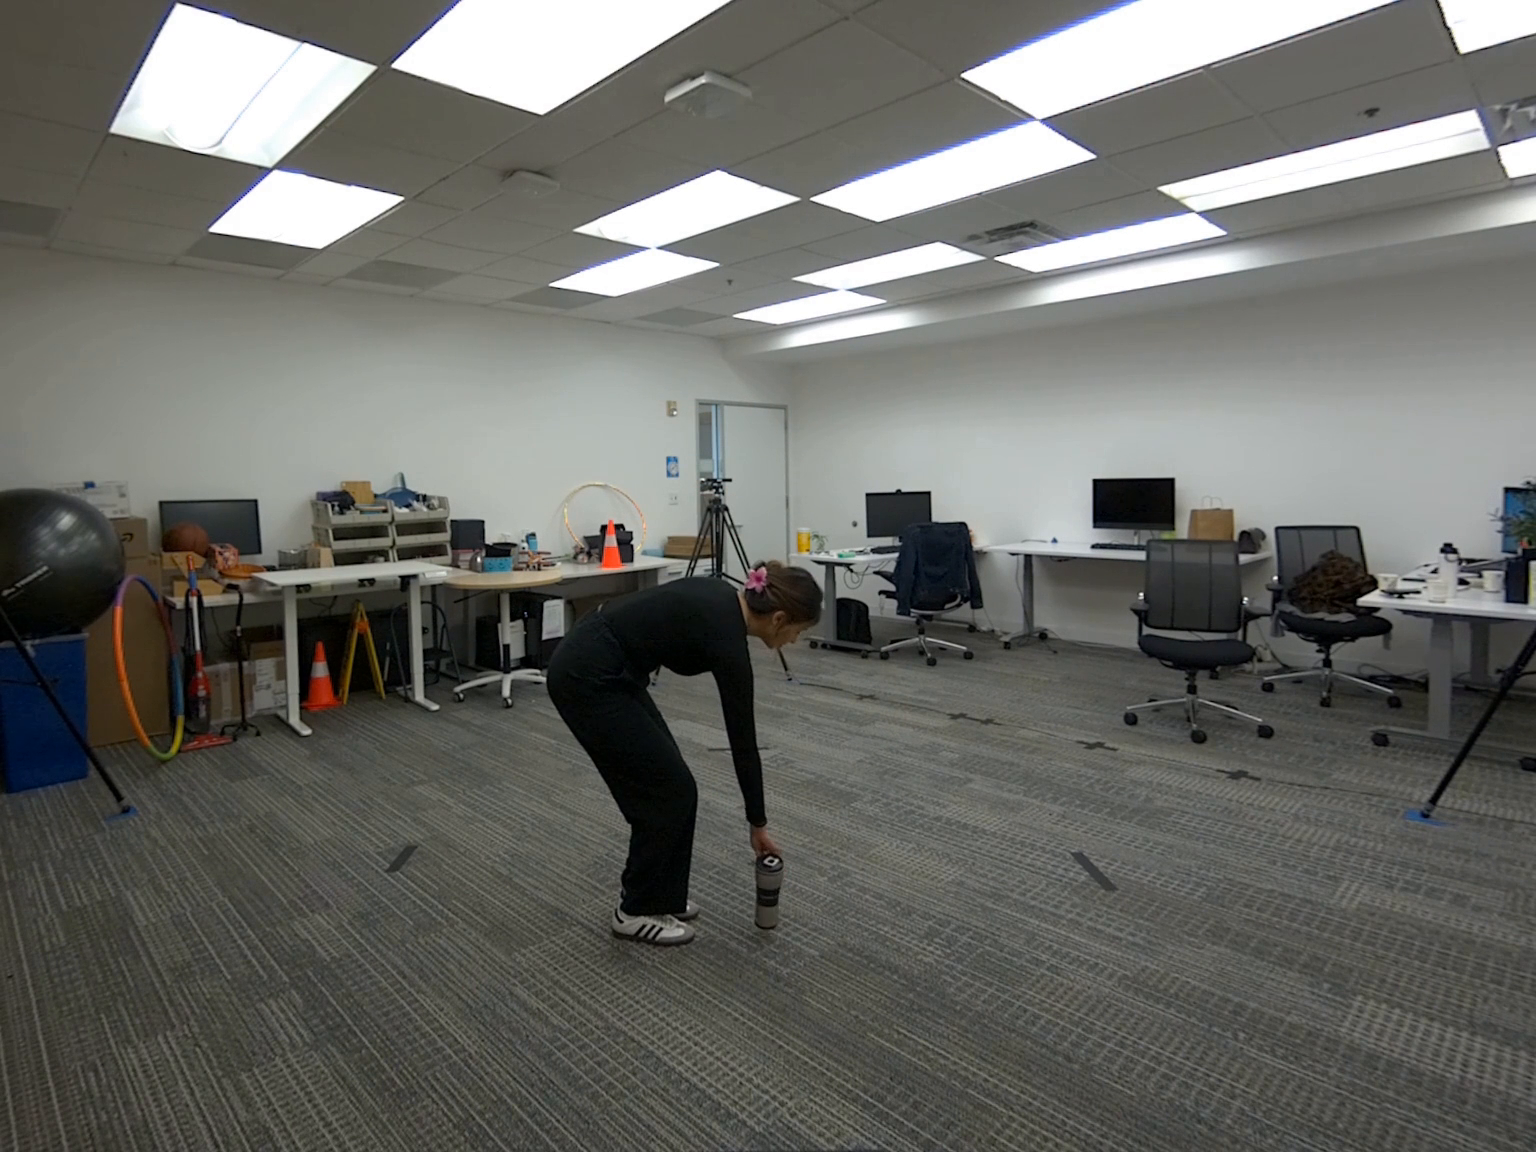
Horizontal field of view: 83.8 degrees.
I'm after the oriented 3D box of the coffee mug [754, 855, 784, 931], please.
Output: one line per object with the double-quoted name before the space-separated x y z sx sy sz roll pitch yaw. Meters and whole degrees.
"coffee mug" 0.002 0.969 2.630 0.091 0.201 0.119 5 10 43
